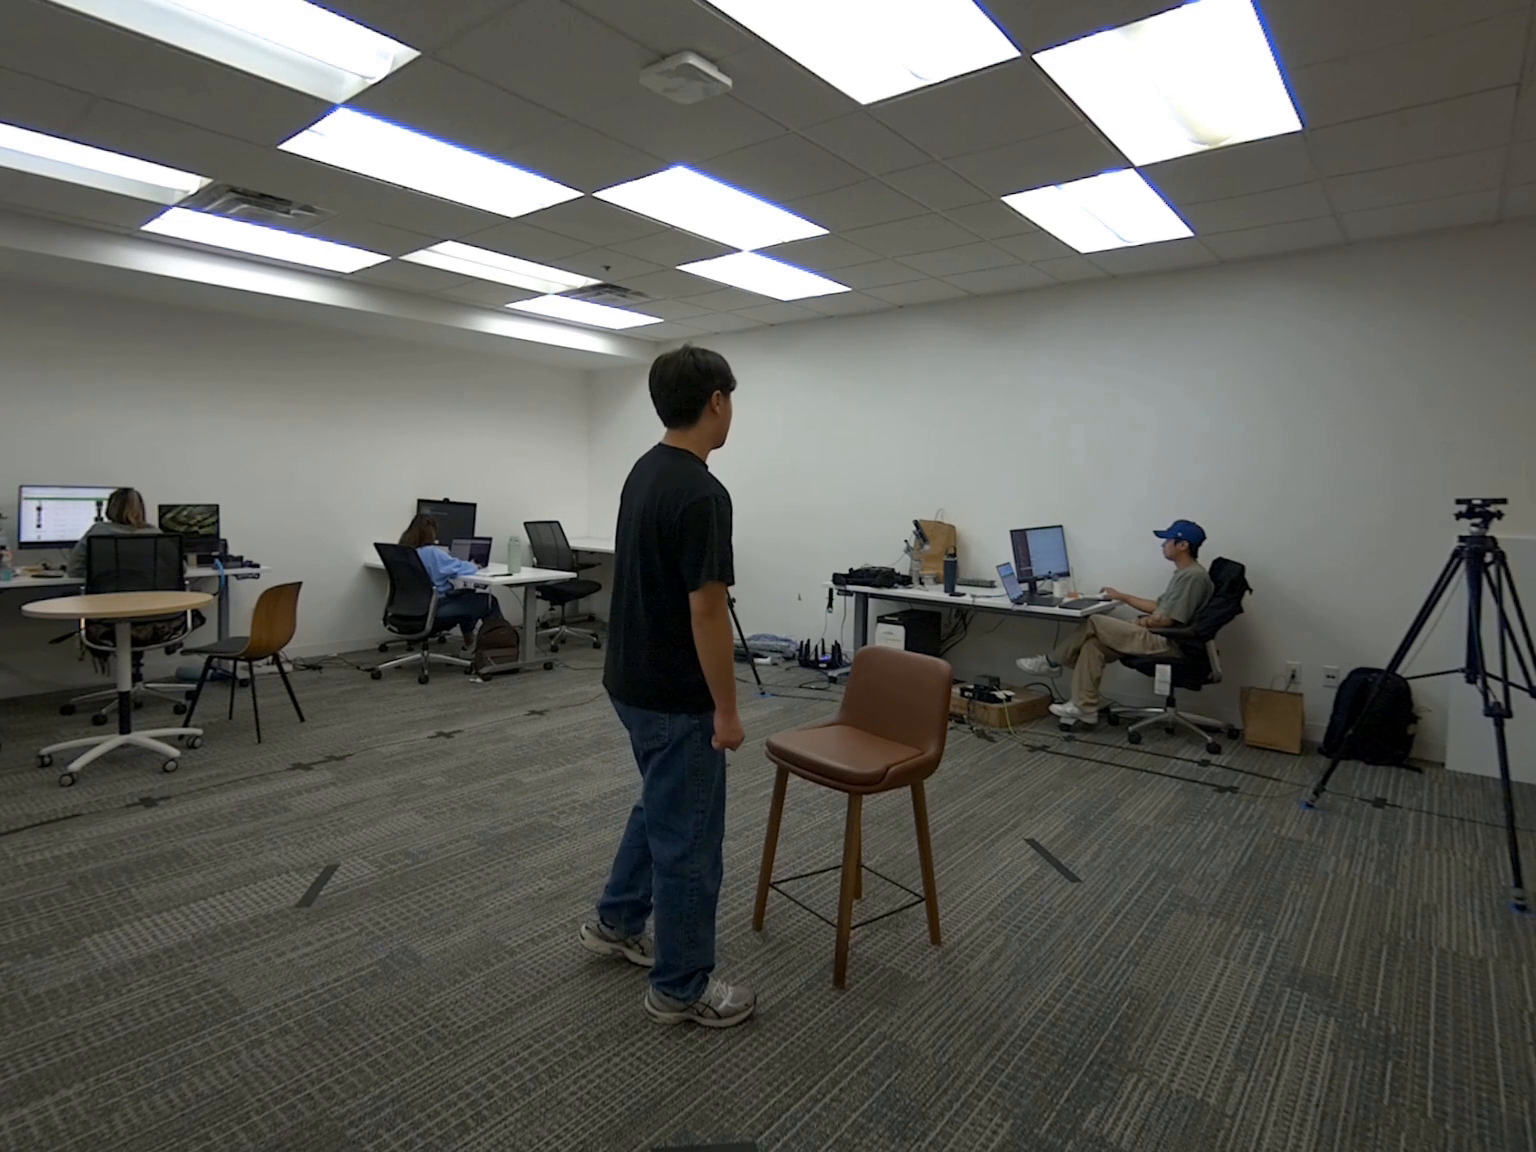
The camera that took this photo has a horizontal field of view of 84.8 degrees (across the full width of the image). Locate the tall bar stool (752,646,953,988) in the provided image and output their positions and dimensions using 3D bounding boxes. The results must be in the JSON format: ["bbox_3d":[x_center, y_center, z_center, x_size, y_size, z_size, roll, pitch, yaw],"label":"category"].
[{"bbox_3d":[0.256,0.691,2.644,0.453,0.888,0.472,1,3,-37],"label":"tall bar stool"}]
